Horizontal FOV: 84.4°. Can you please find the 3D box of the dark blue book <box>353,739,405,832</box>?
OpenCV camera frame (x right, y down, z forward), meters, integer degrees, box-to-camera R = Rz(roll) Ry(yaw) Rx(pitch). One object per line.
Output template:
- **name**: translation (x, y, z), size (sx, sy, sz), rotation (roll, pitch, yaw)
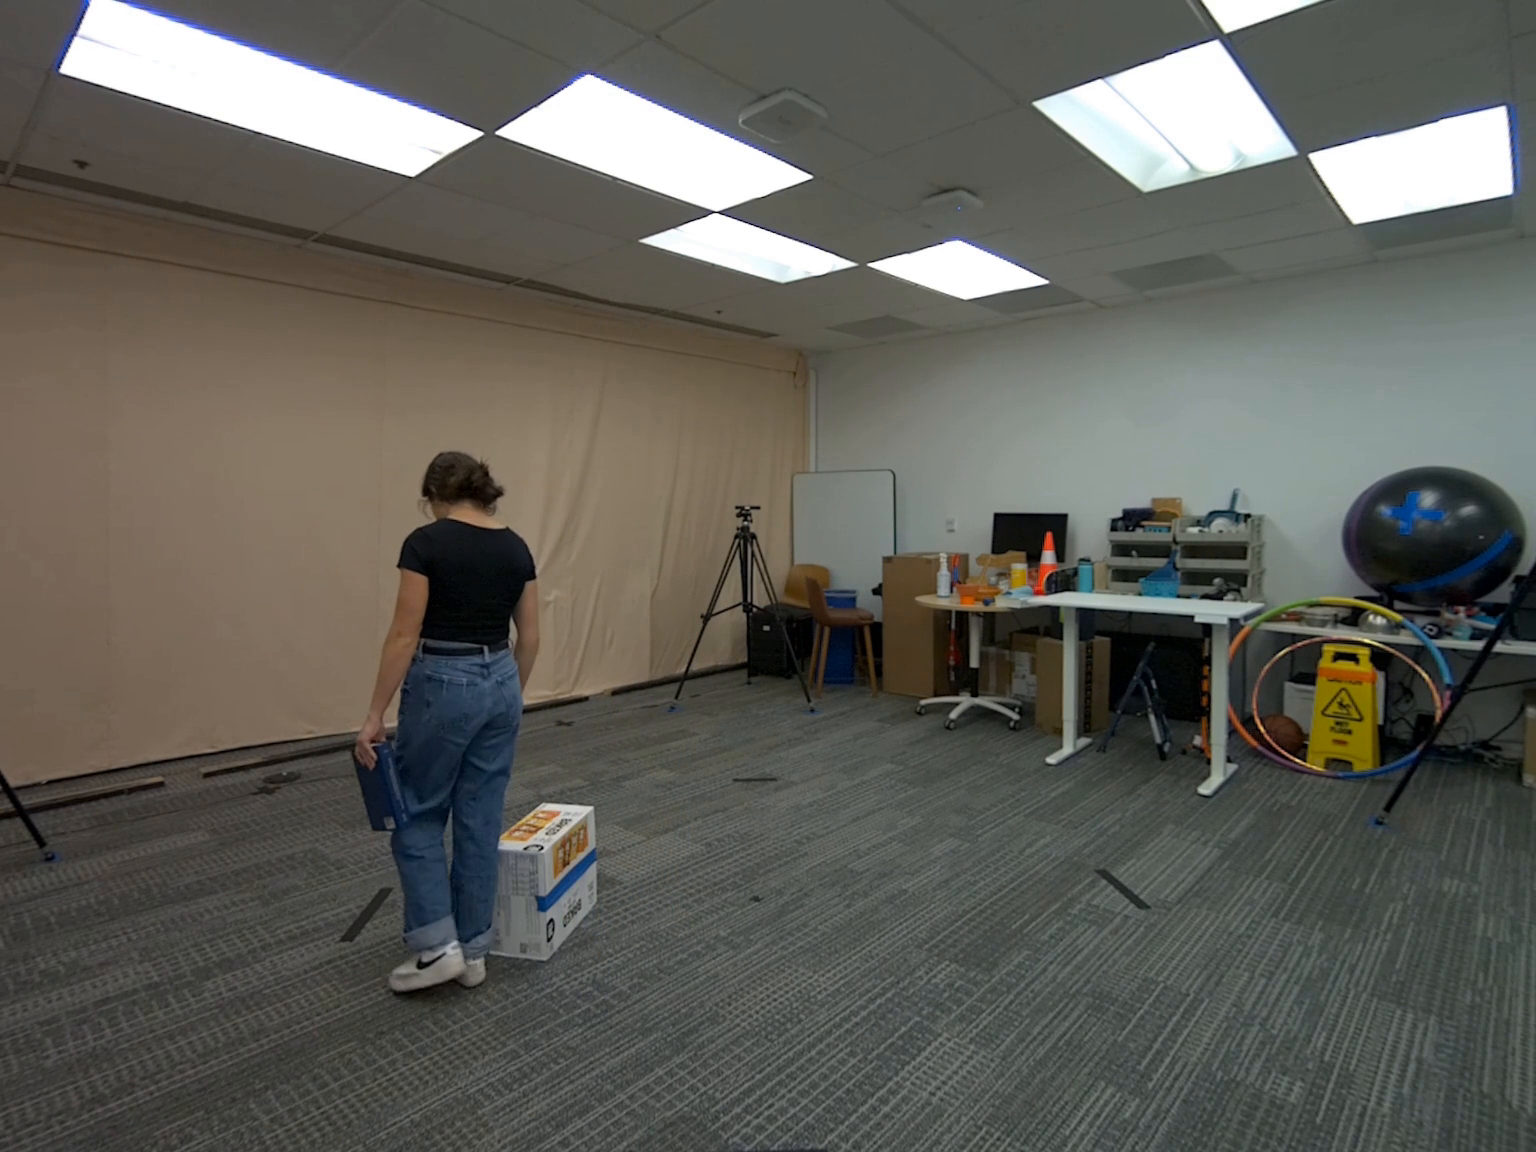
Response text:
- **dark blue book**: translation (-1.095, 0.591, 2.373), size (0.168, 0.245, 0.044), rotation (-12, 0, 36)
